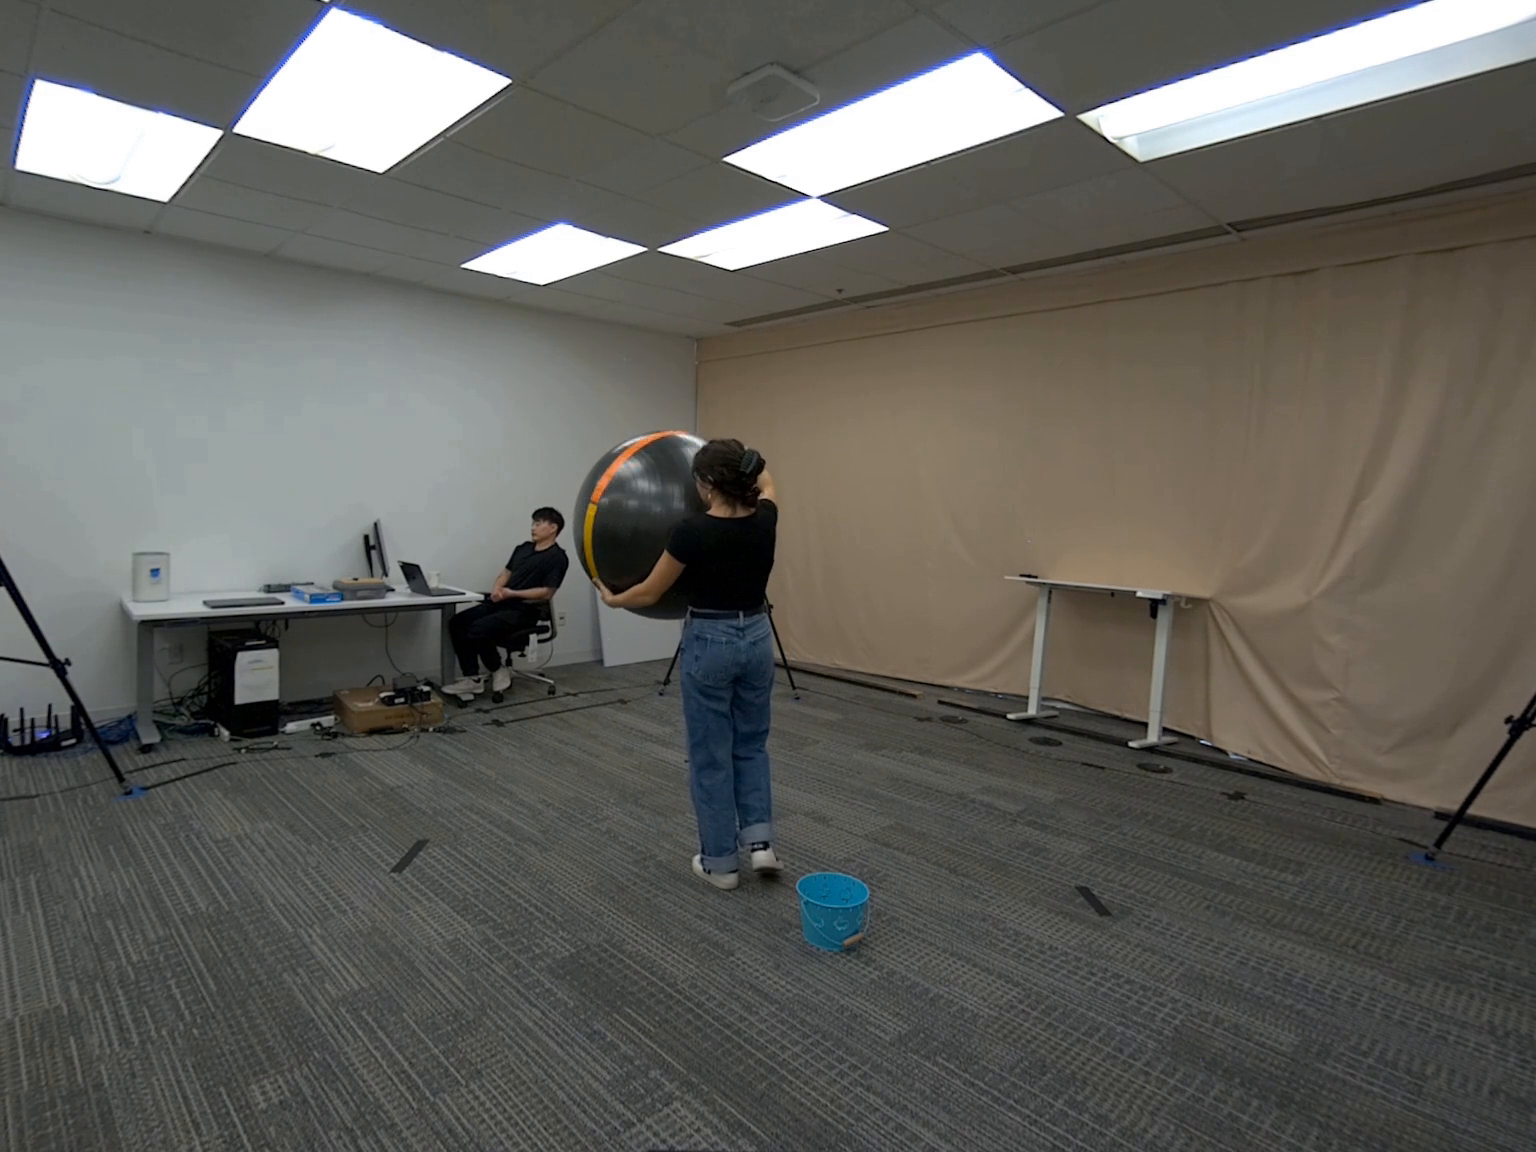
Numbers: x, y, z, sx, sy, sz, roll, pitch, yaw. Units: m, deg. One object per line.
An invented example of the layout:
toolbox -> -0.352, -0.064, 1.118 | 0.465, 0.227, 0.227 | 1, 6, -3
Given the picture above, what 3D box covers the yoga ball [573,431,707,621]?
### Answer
yoga ball -> -0.408, -0.198, 3.405 | 0.757, 0.756, 0.761 | 1, 4, -1
